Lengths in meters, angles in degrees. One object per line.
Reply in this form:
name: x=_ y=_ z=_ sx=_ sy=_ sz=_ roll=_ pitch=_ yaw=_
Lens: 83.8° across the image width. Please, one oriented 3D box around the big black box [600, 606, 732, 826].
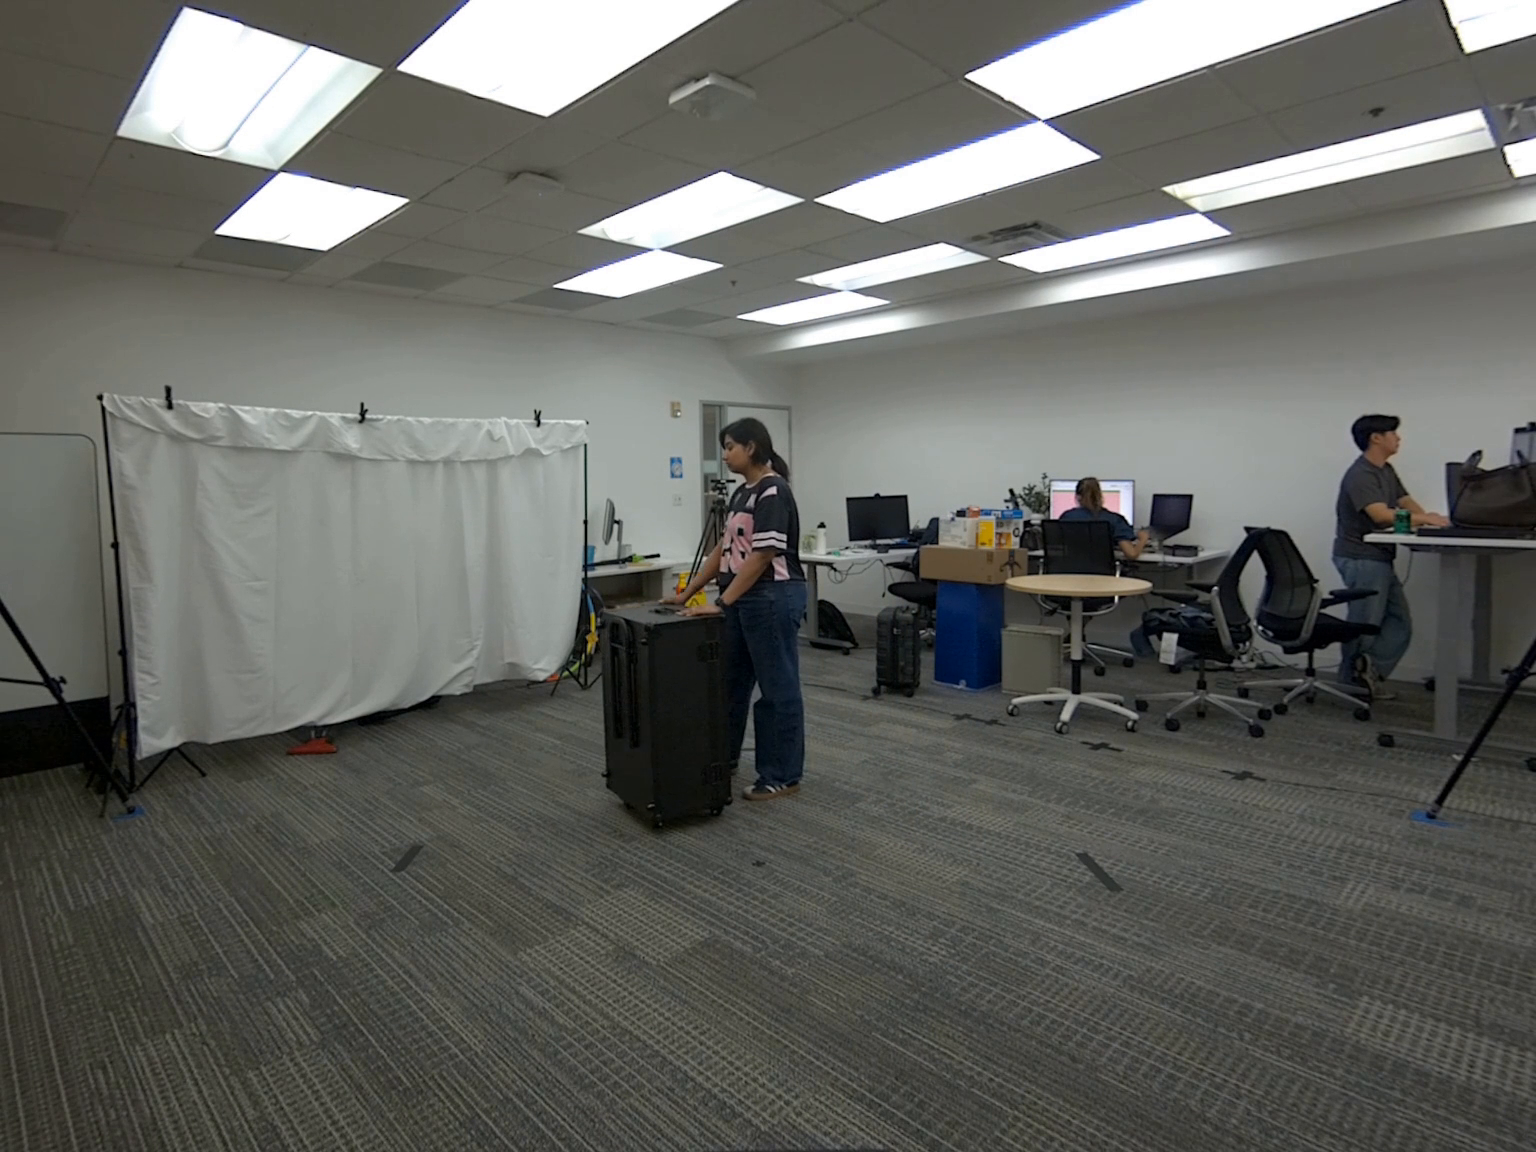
big black box: x=-0.435 y=0.579 z=3.585 sx=0.376 sy=0.866 sz=0.538 roll=-4 pitch=5 yaw=-32
